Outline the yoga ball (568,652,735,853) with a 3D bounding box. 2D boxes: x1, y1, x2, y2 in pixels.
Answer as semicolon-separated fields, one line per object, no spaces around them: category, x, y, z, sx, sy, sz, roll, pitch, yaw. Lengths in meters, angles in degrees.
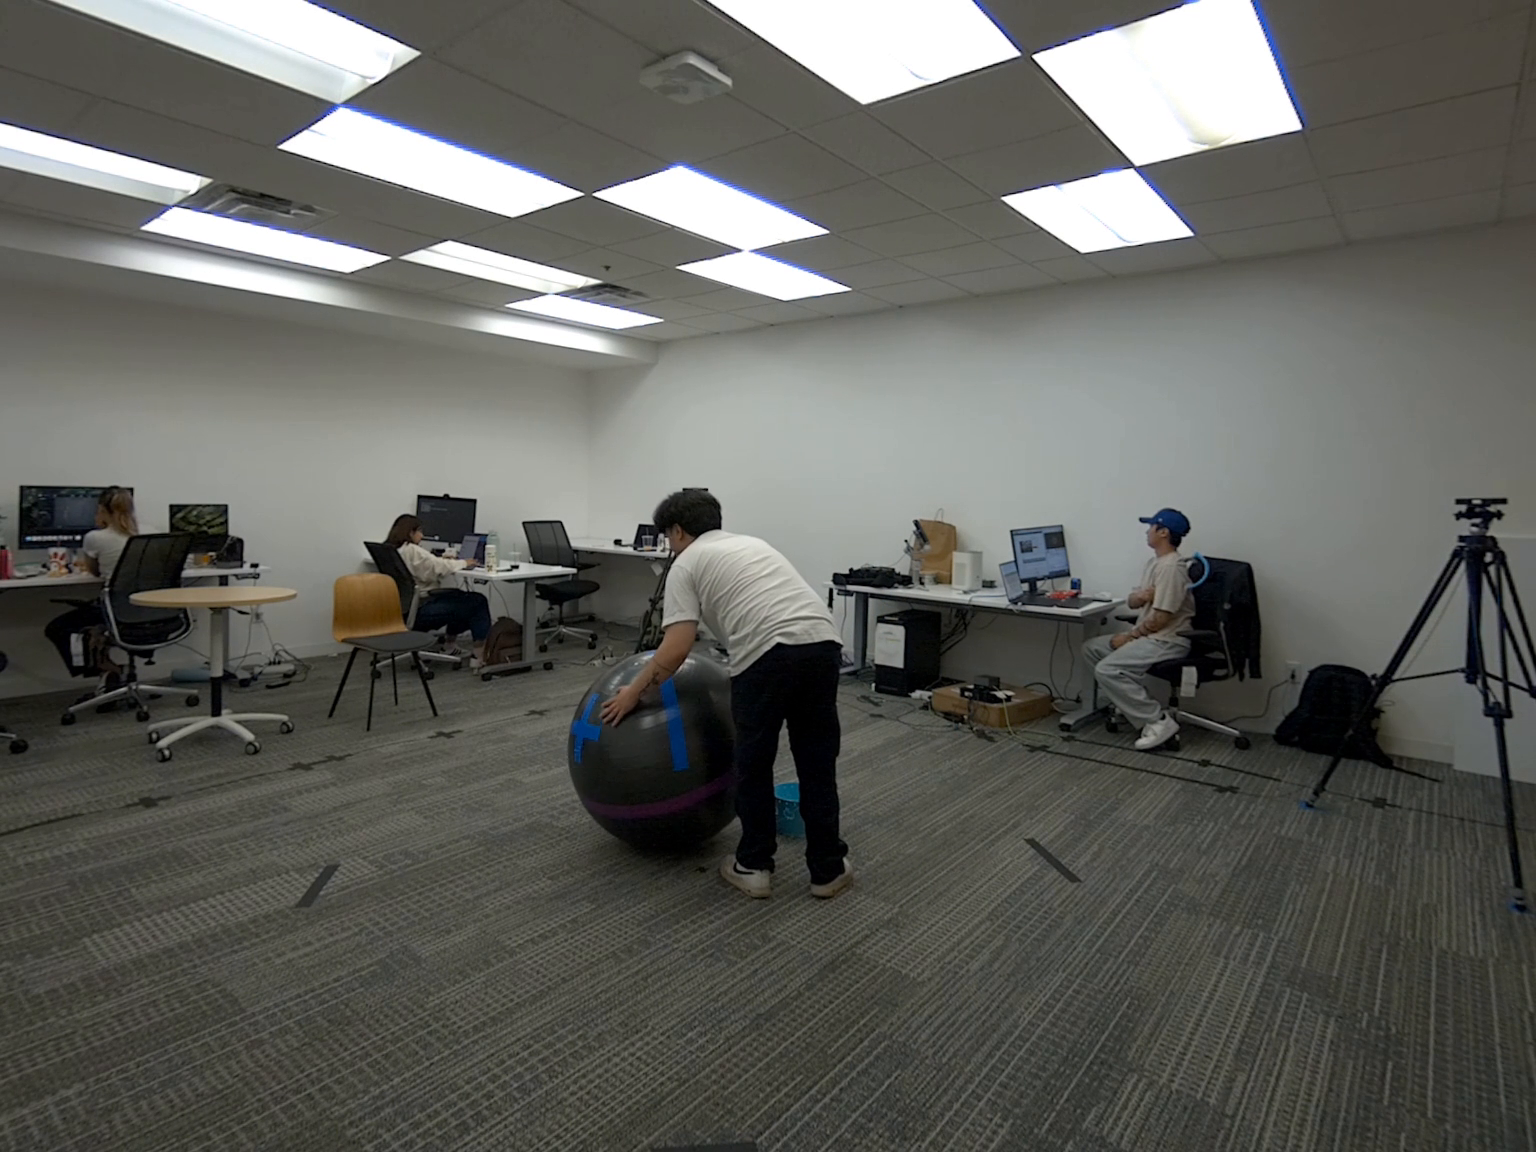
yoga ball;-0.414;0.676;3.343;0.757;0.755;0.762;1;4;-2
